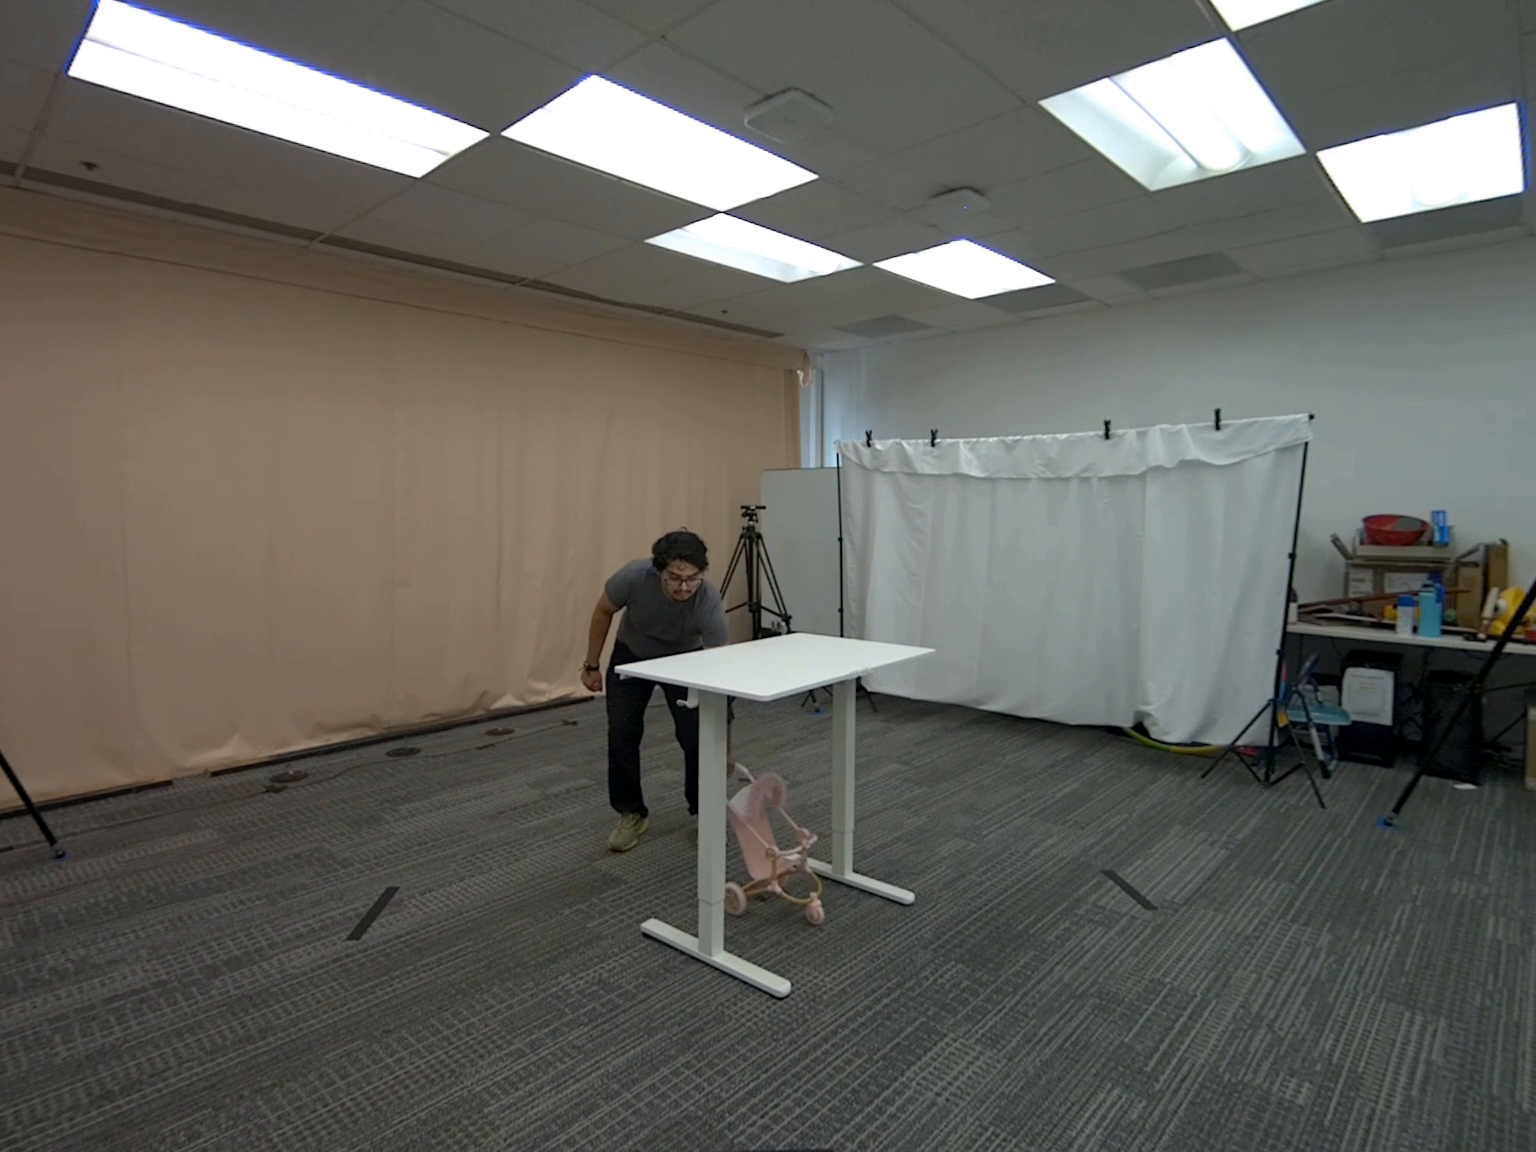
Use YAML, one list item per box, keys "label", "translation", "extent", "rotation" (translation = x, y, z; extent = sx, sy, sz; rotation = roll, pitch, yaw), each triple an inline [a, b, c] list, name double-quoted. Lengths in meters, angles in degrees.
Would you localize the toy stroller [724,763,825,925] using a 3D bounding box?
- label: "toy stroller"
  translation: [0.005, 0.921, 2.908]
  extent: [0.350, 0.538, 0.273]
  rotation: [-16, -8, 41]
